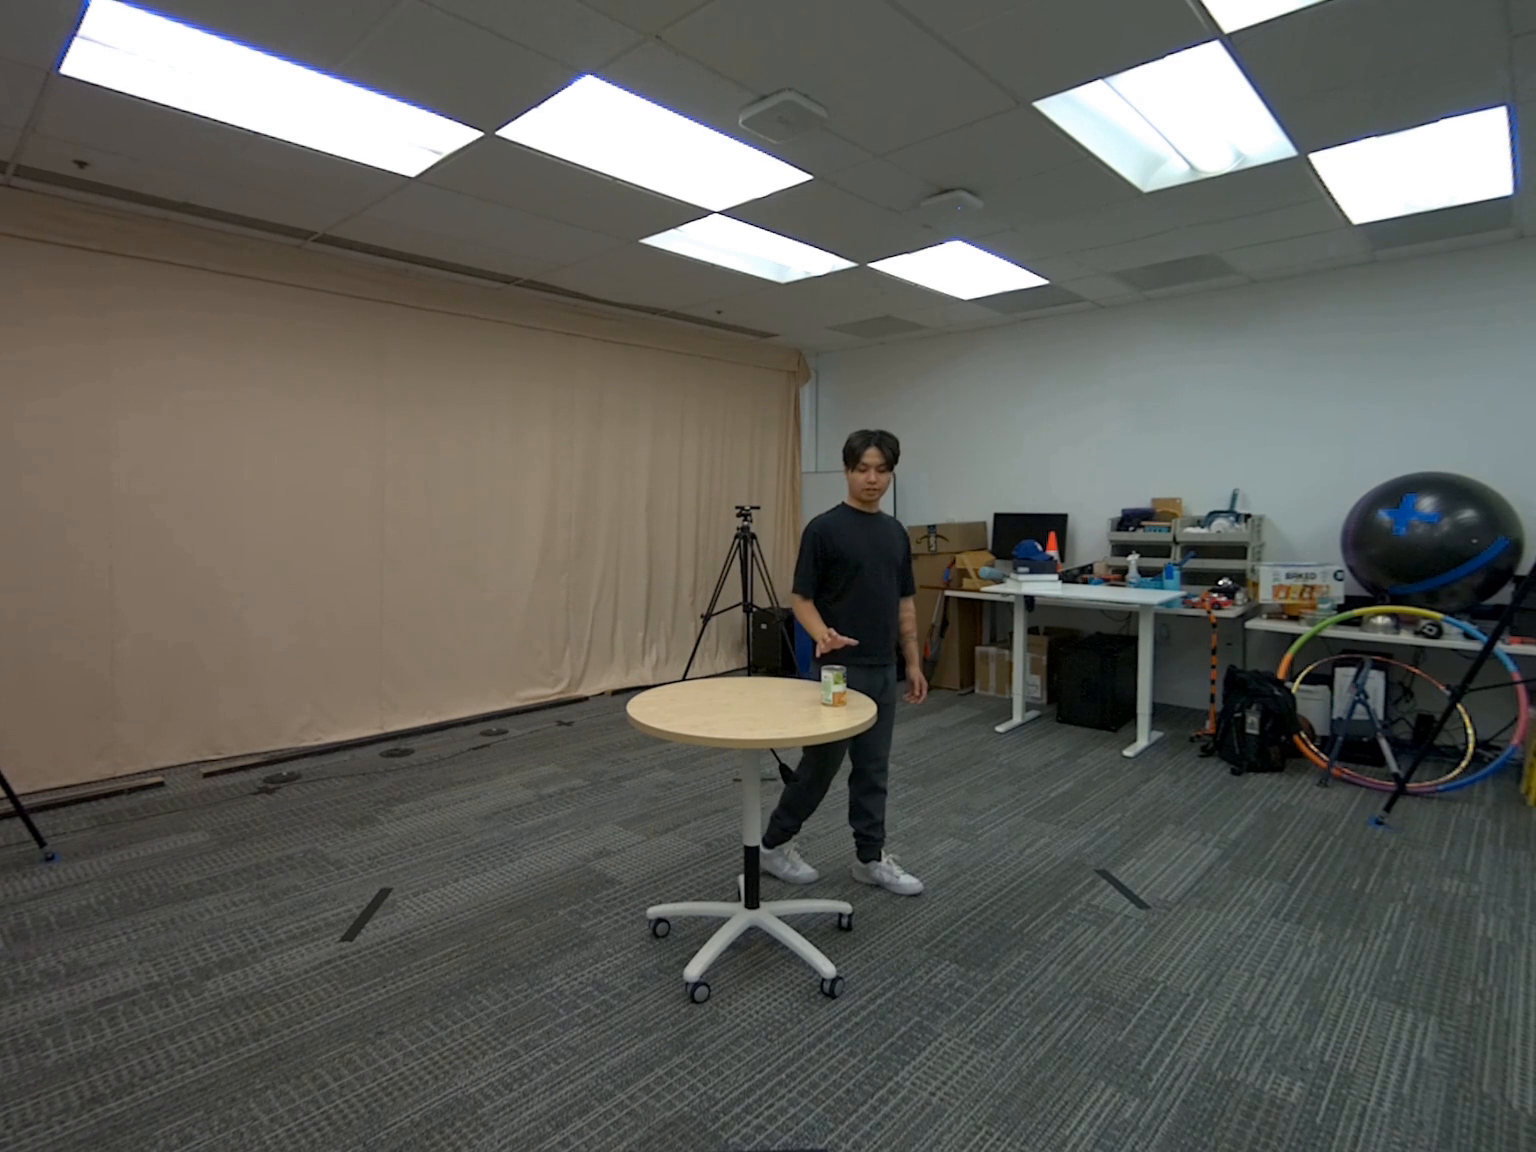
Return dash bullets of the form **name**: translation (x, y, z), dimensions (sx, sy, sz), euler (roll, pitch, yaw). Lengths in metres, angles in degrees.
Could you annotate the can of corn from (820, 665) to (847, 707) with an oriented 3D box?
- **can of corn**: translation (0.212, 0.338, 2.581), dimensions (0.074, 0.111, 0.074), euler (1, 5, -2)
